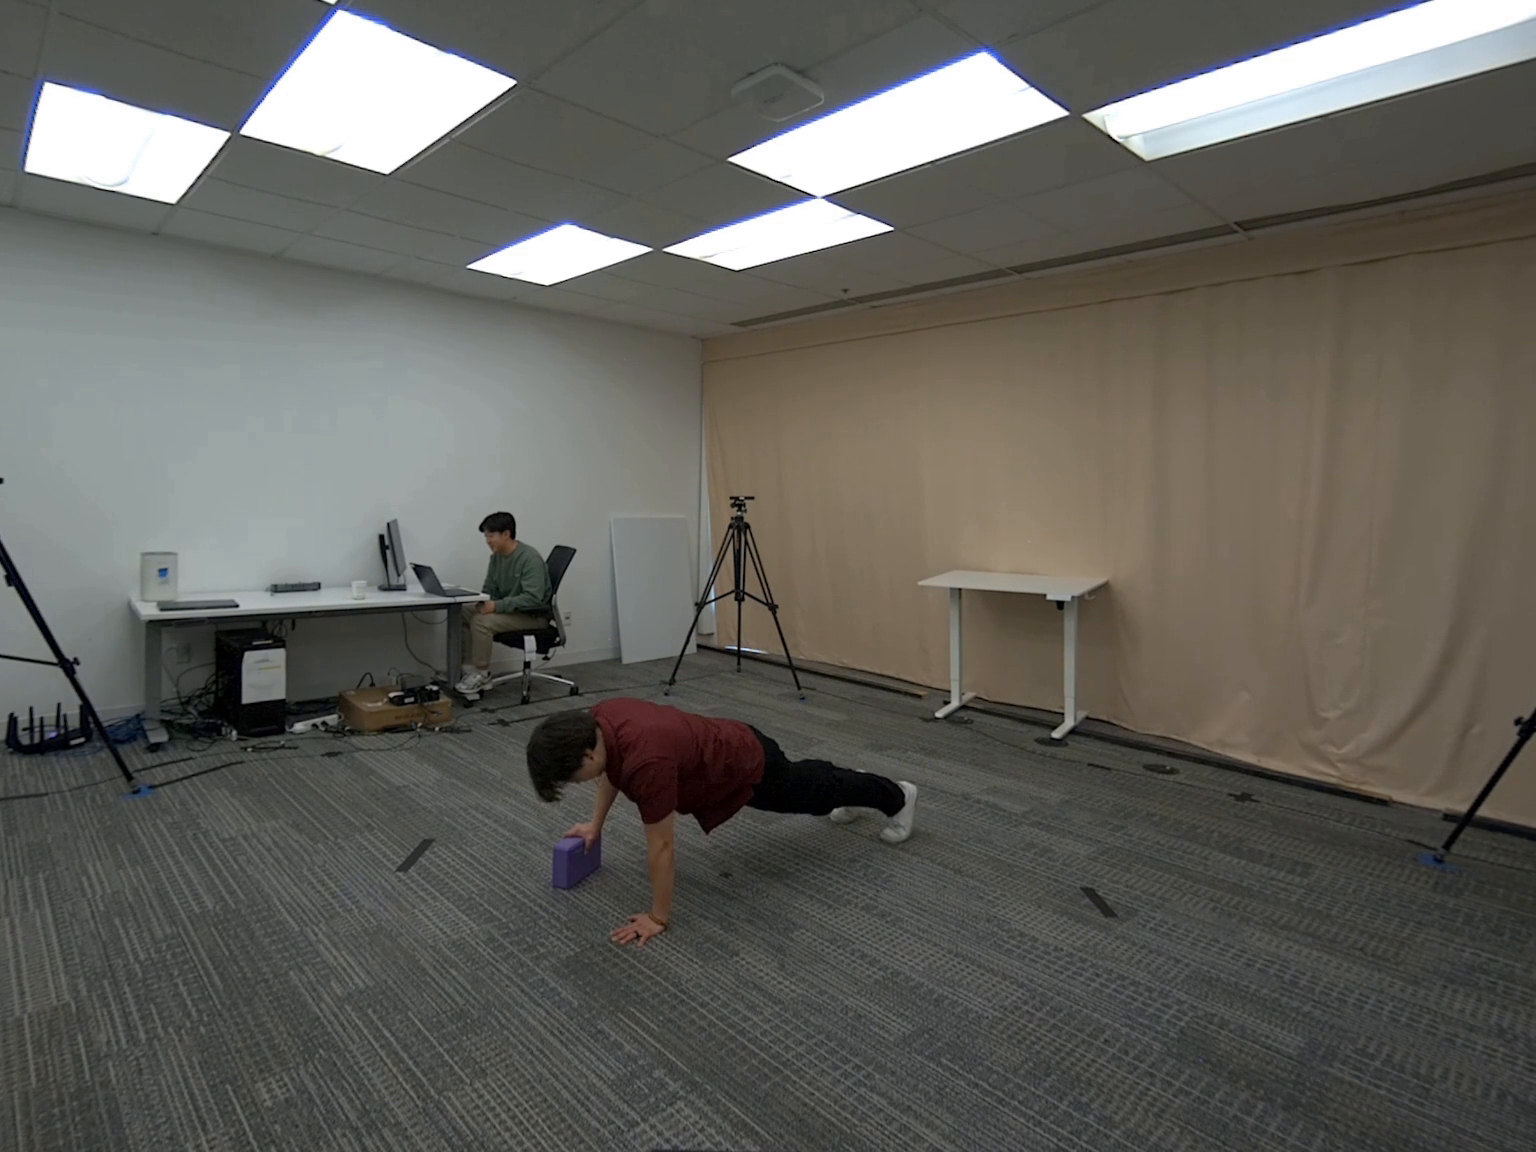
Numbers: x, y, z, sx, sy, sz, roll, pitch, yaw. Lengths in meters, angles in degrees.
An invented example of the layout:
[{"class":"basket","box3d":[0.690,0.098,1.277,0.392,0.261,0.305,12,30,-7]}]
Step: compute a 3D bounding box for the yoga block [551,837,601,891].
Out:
[{"class":"yoga block","box3d":[-0.695,1.019,3.063,0.077,0.149,0.226,2,4,18]}]
